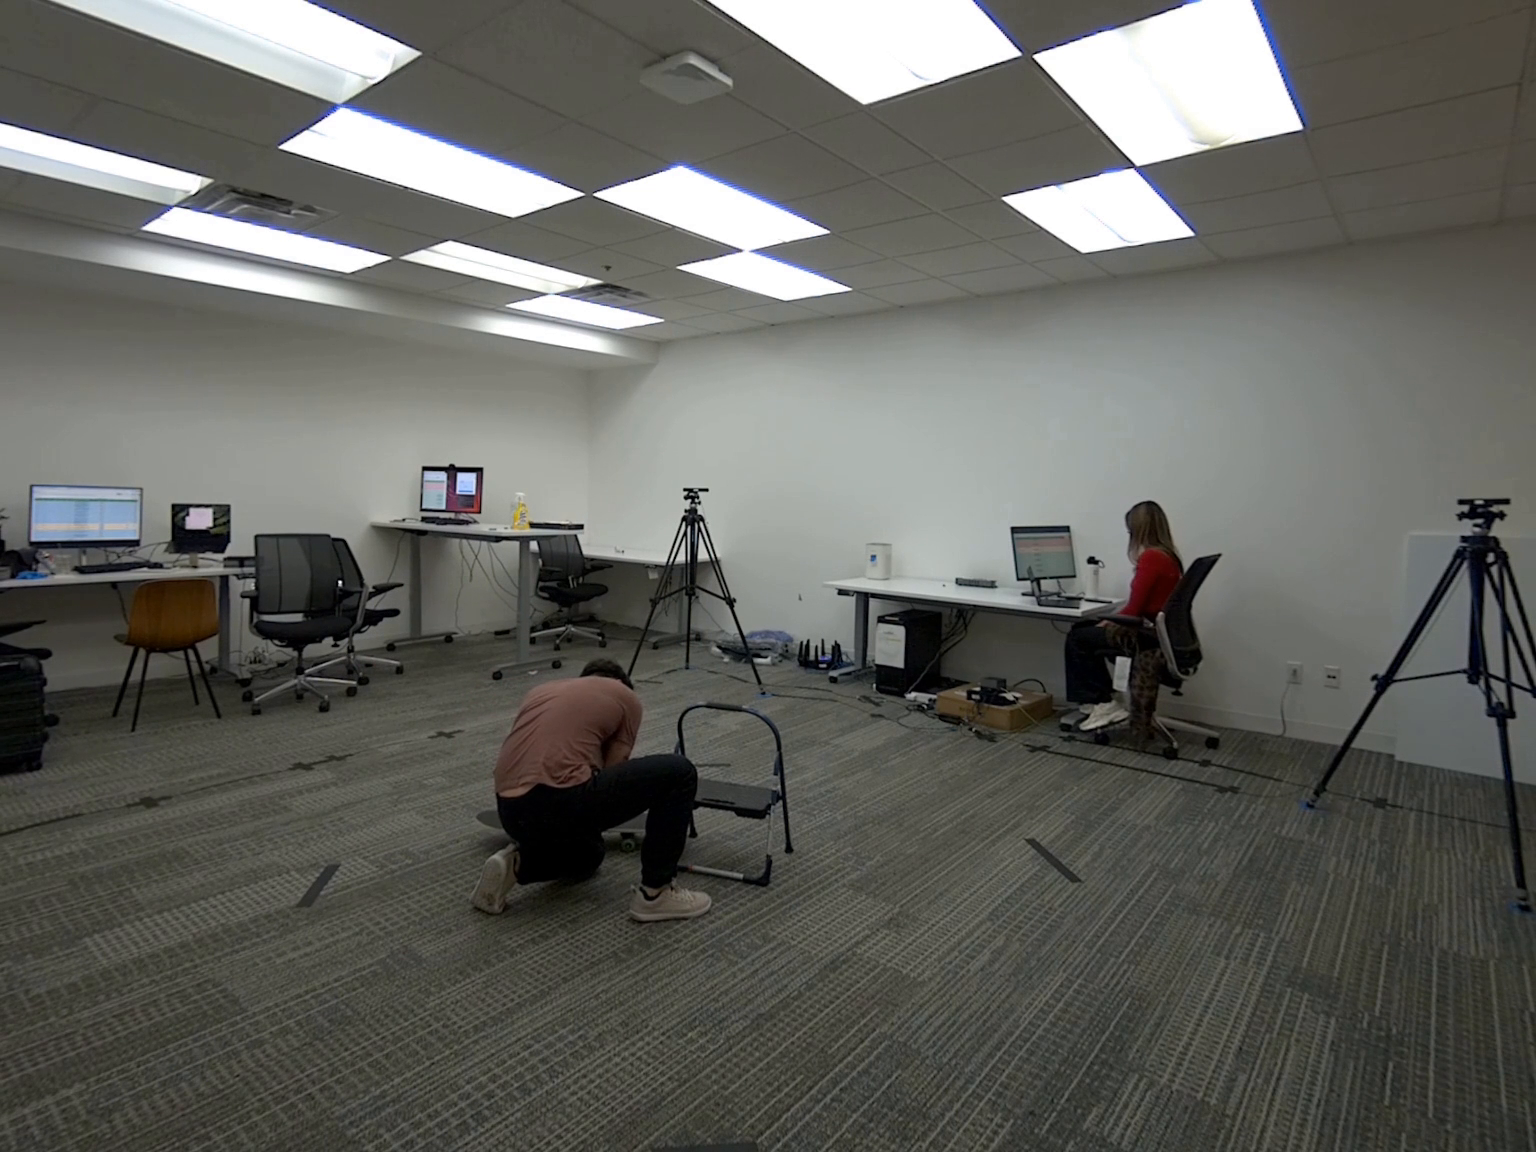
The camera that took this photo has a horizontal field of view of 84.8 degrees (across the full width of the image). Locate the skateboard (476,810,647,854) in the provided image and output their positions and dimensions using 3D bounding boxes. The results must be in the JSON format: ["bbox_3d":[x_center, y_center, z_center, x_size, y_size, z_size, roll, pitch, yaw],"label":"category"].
[{"bbox_3d":[-0.738,0.976,3.311,0.784,0.110,0.194,2,2,-2],"label":"skateboard"}]
